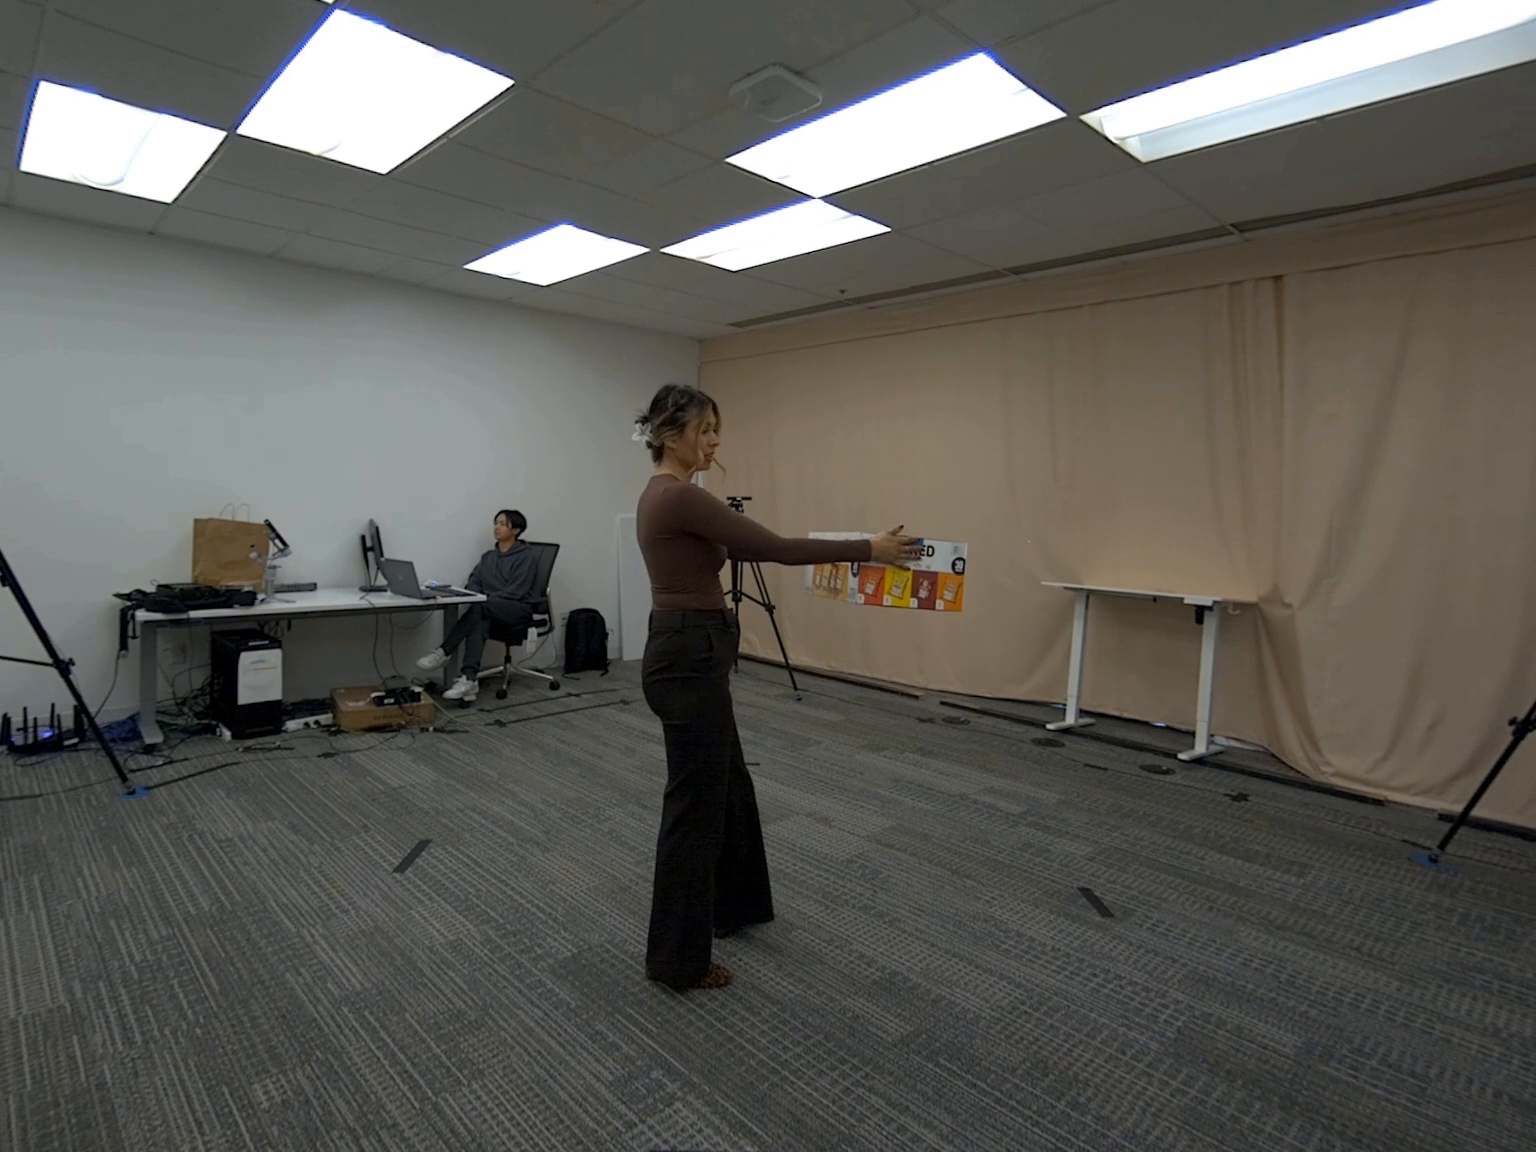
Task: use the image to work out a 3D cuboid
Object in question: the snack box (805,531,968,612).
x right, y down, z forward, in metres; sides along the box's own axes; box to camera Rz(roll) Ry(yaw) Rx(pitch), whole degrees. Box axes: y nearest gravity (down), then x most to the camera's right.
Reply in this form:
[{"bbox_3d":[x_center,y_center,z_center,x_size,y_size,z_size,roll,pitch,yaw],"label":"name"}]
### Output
[{"bbox_3d":[0.345,-0.018,2.591,0.336,0.206,0.410,4,1,-17],"label":"snack box"}]
